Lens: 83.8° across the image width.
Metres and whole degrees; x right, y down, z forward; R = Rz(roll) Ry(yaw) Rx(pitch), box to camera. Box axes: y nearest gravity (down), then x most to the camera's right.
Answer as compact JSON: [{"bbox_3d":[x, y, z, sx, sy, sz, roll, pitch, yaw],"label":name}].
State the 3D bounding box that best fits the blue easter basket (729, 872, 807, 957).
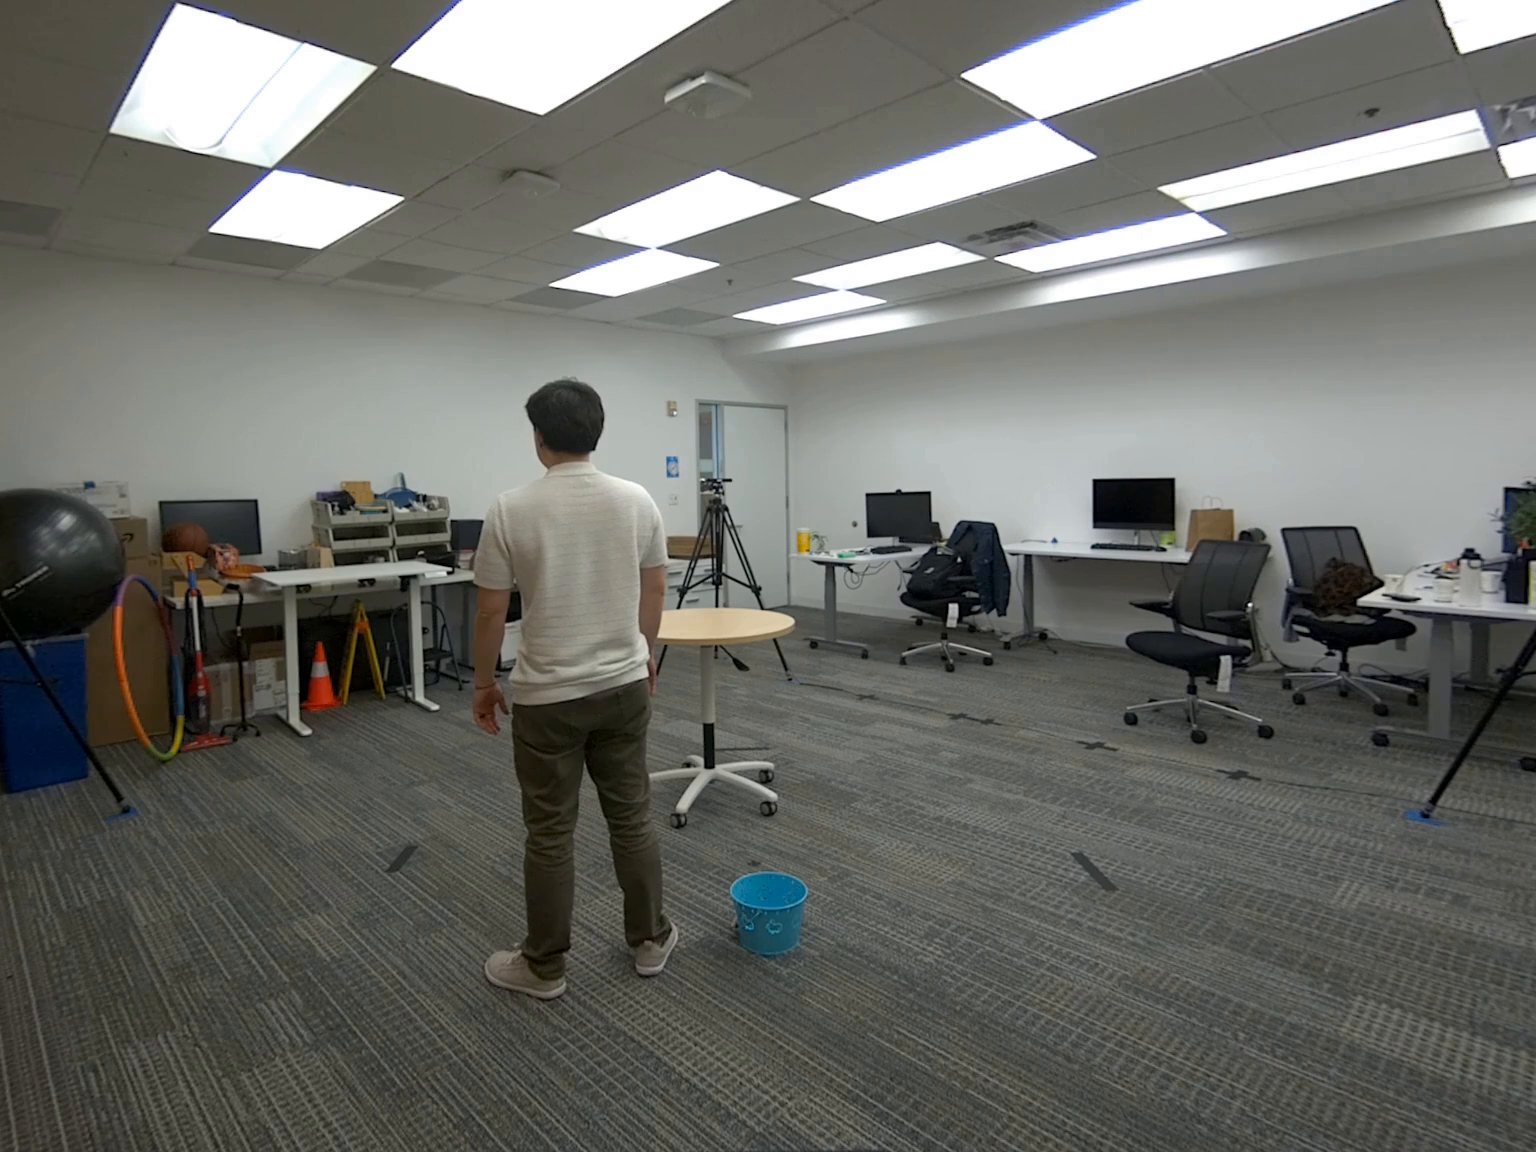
[{"bbox_3d":[0.009,1.025,2.600,0.243,0.155,0.245,-1,5,-2],"label":"blue easter basket"}]
